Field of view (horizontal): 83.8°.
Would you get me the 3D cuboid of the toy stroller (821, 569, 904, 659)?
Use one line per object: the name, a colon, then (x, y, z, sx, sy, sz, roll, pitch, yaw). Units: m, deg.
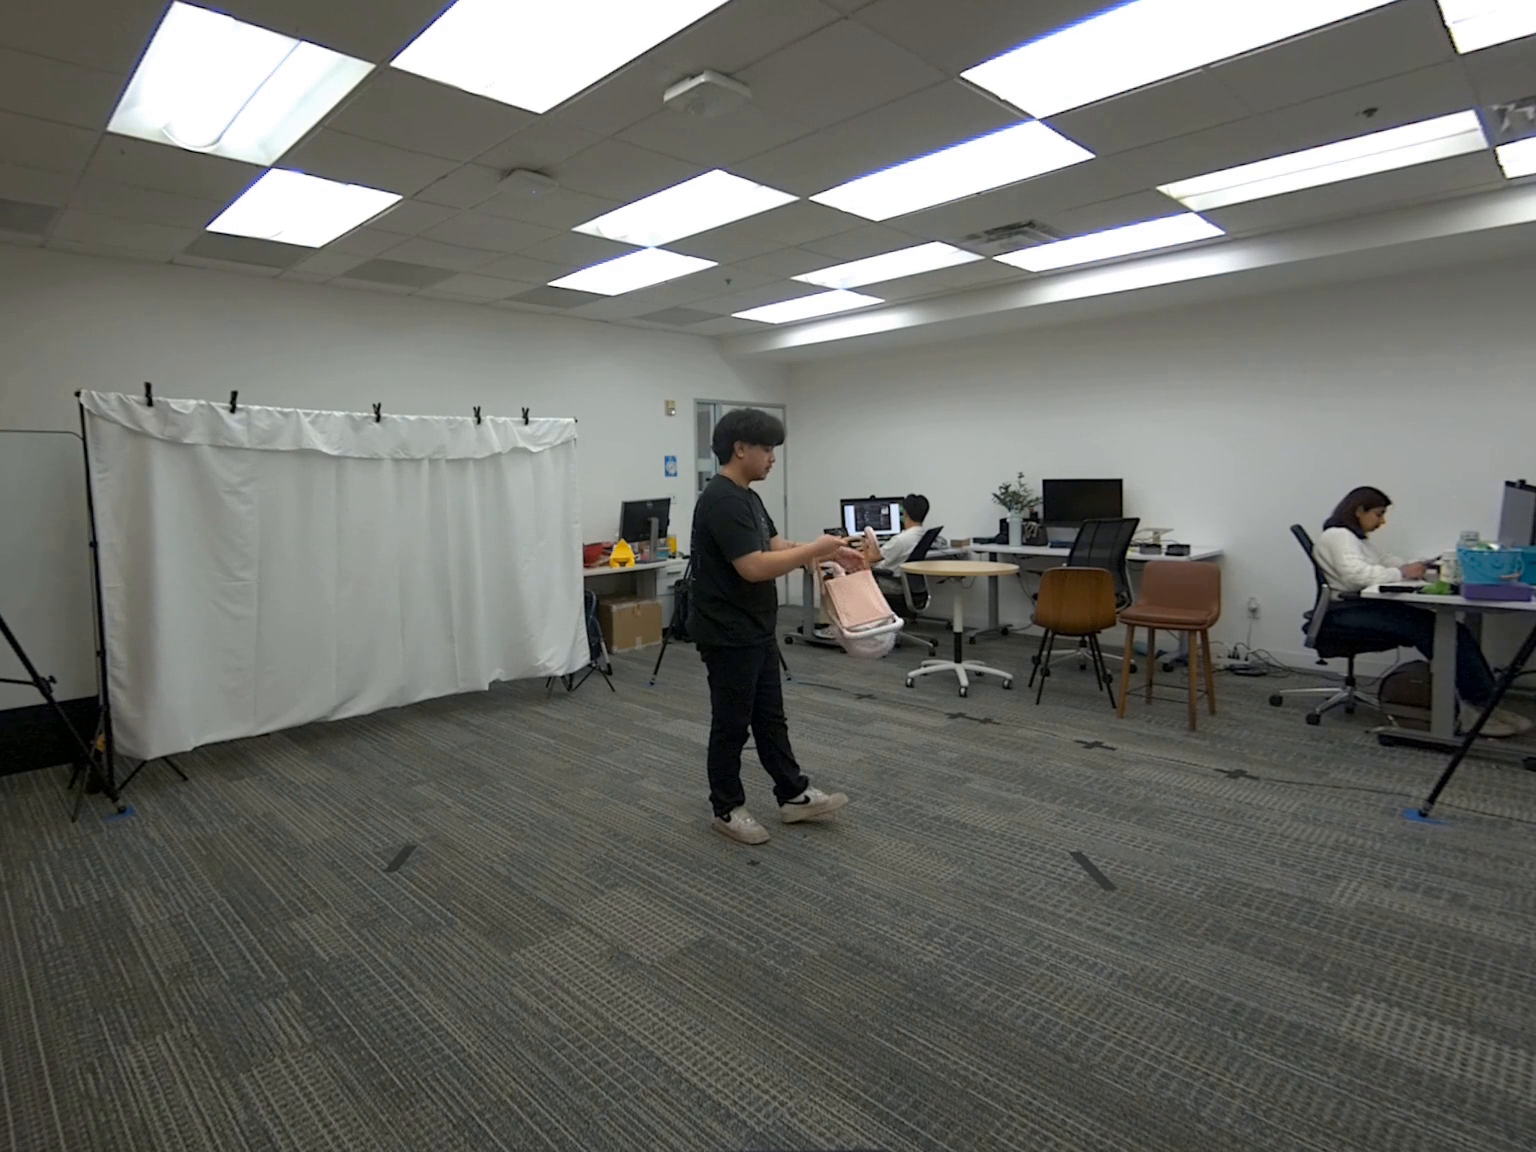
toy stroller: (0.320, 0.085, 3.184, 0.281, 0.553, 0.331, -15, -37, -4)
